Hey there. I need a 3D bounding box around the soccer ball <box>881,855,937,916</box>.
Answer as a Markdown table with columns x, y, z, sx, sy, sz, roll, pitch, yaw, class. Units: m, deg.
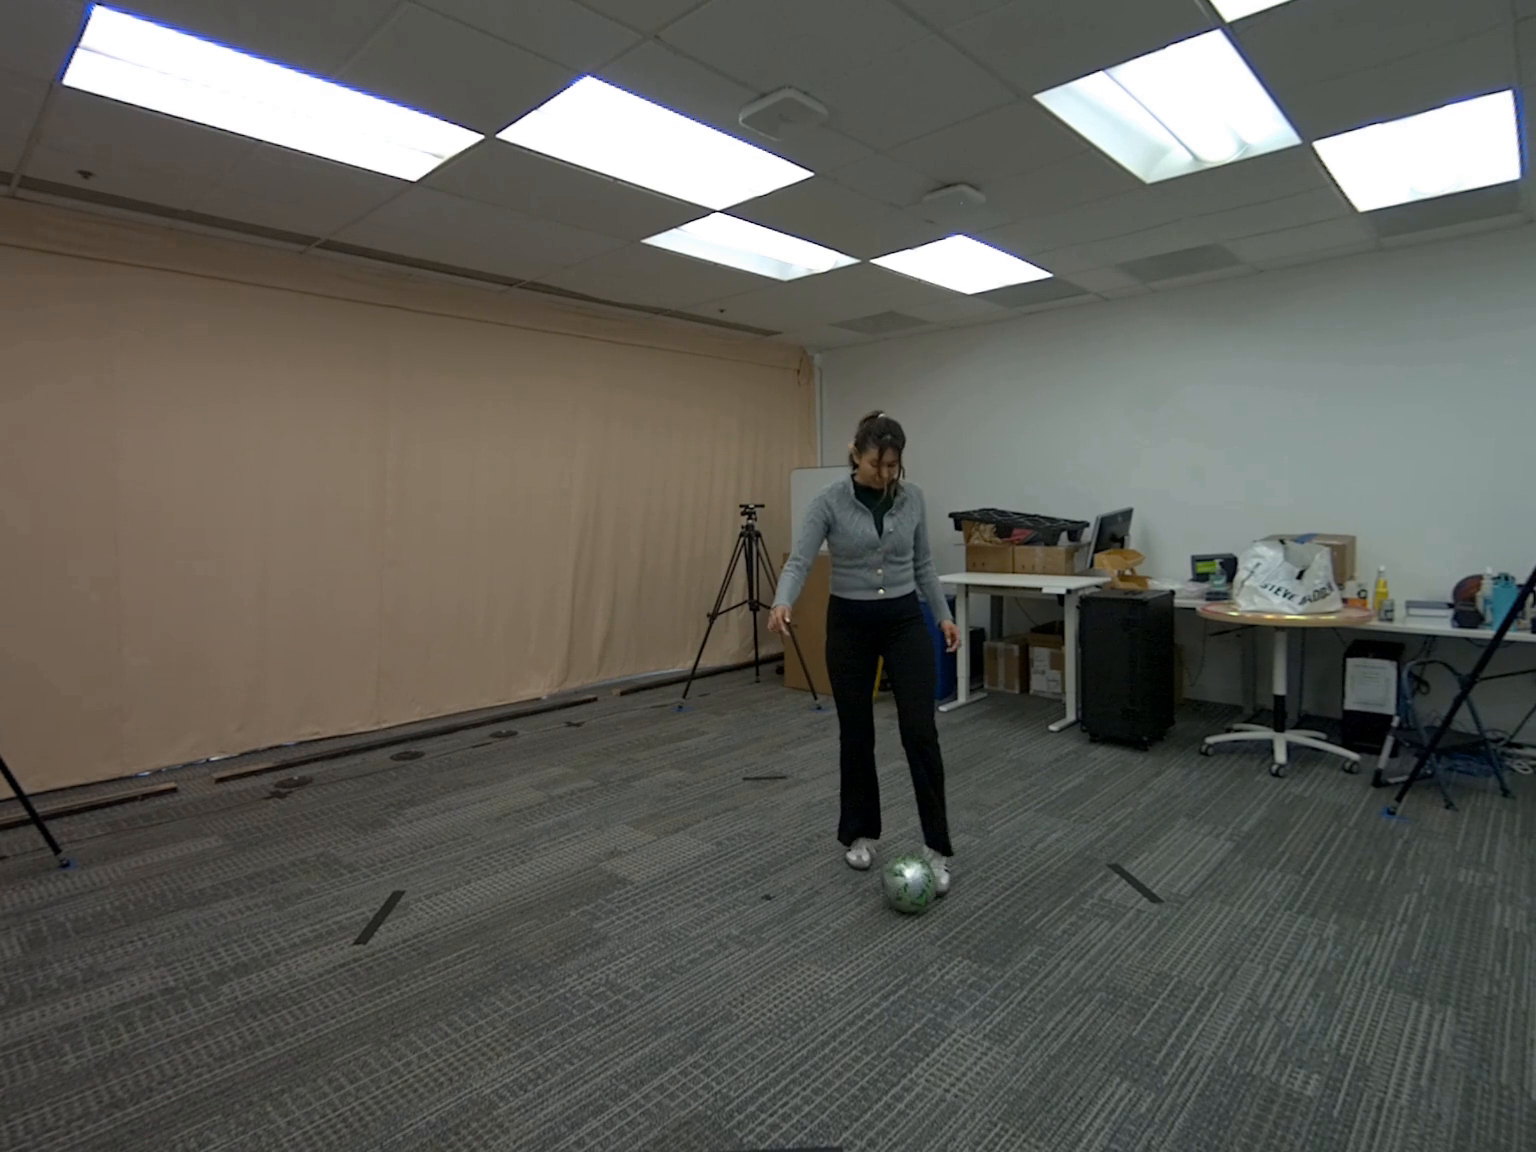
| x | y | z | sx | sy | sz | roll | pitch | yaw | class |
| --- | --- | --- | --- | --- | --- | --- | --- | --- | --- |
| 0.483 | 1.044 | 2.868 | 0.187 | 0.187 | 0.188 | -1 | 4 | -2 | soccer ball |
